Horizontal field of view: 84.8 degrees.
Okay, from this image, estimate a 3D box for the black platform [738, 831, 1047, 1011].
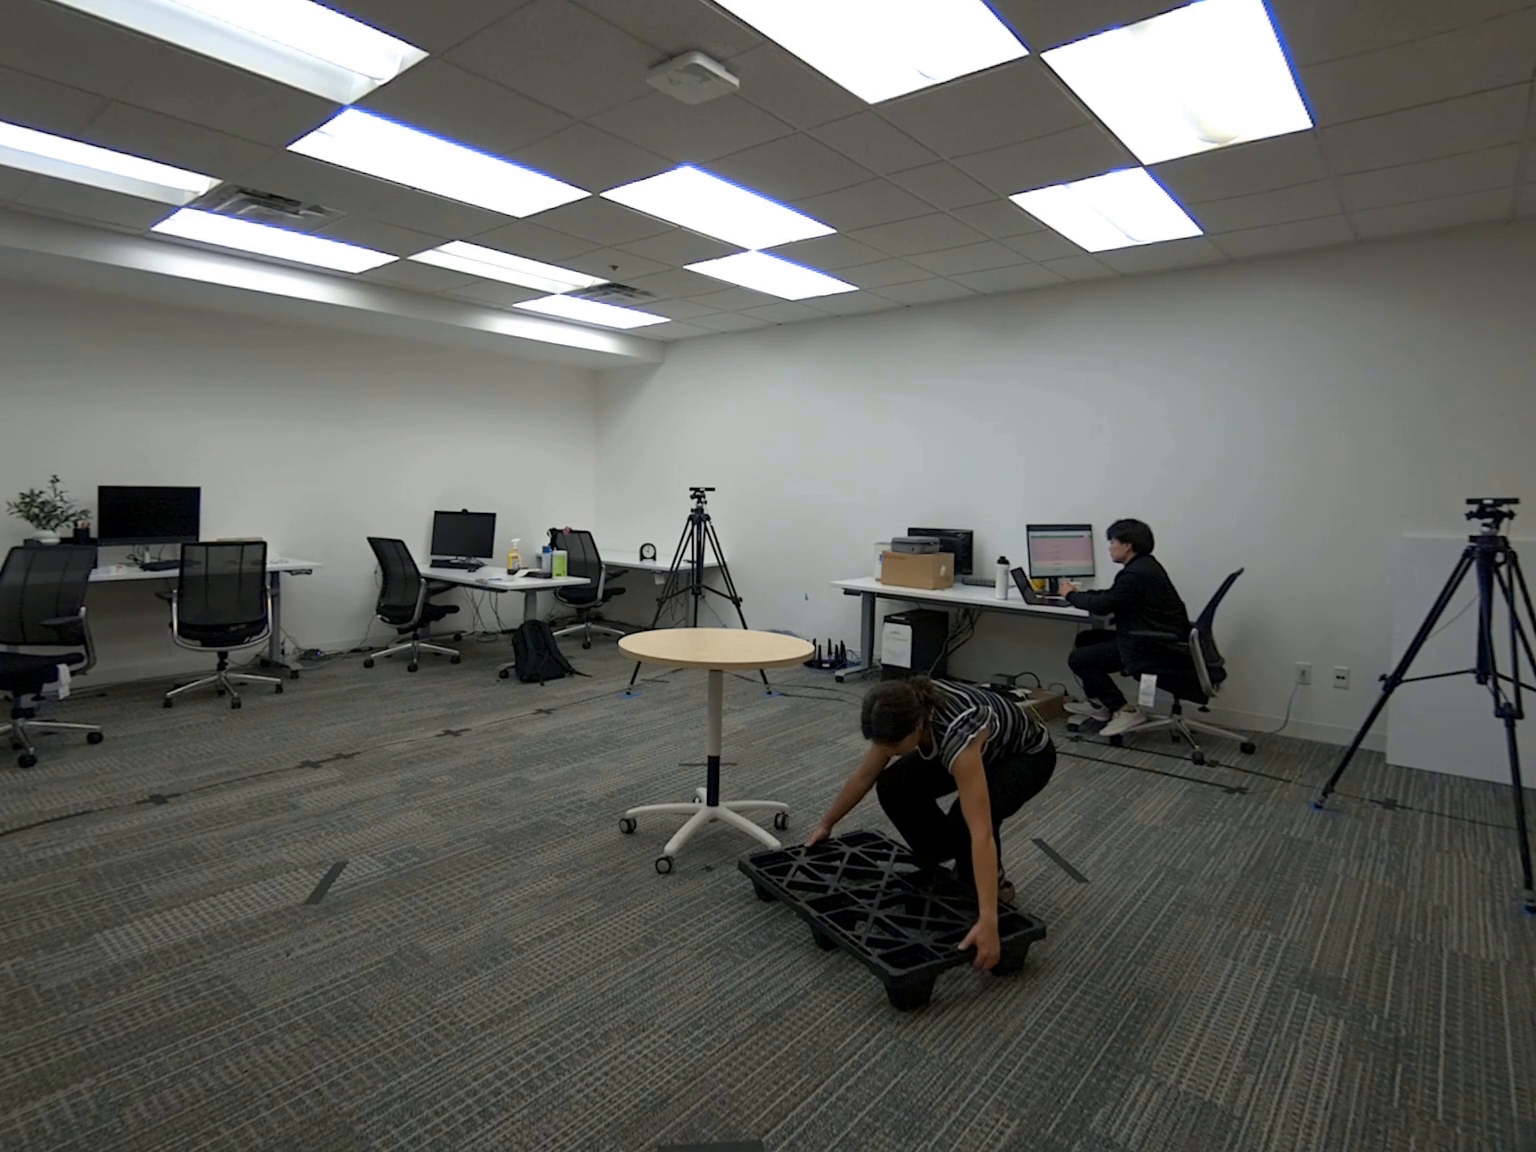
[{"bbox_3d":[0.349,1.053,2.699,0.589,0.143,0.831,-2,7,-31],"label":"black platform"}]
